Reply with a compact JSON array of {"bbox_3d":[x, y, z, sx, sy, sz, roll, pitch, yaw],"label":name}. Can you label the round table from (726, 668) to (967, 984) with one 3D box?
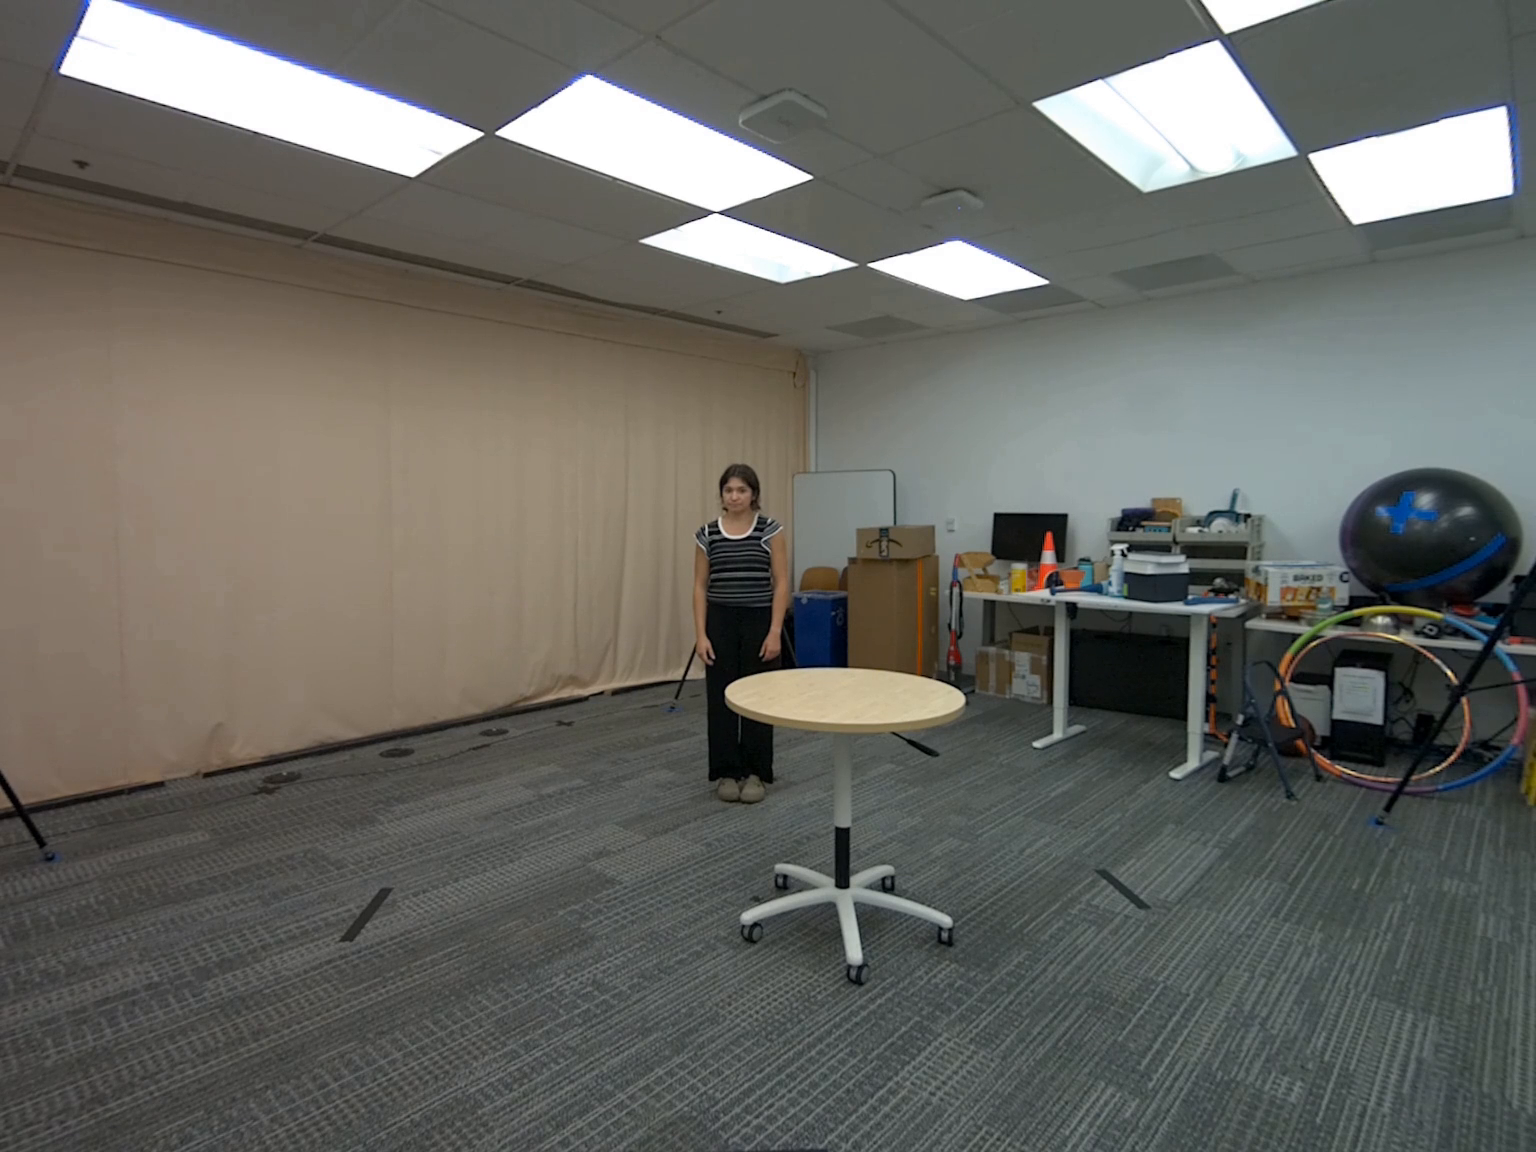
[{"bbox_3d":[0.236,0.767,2.764,0.784,0.785,0.788,0,4,-2],"label":"round table"}]
